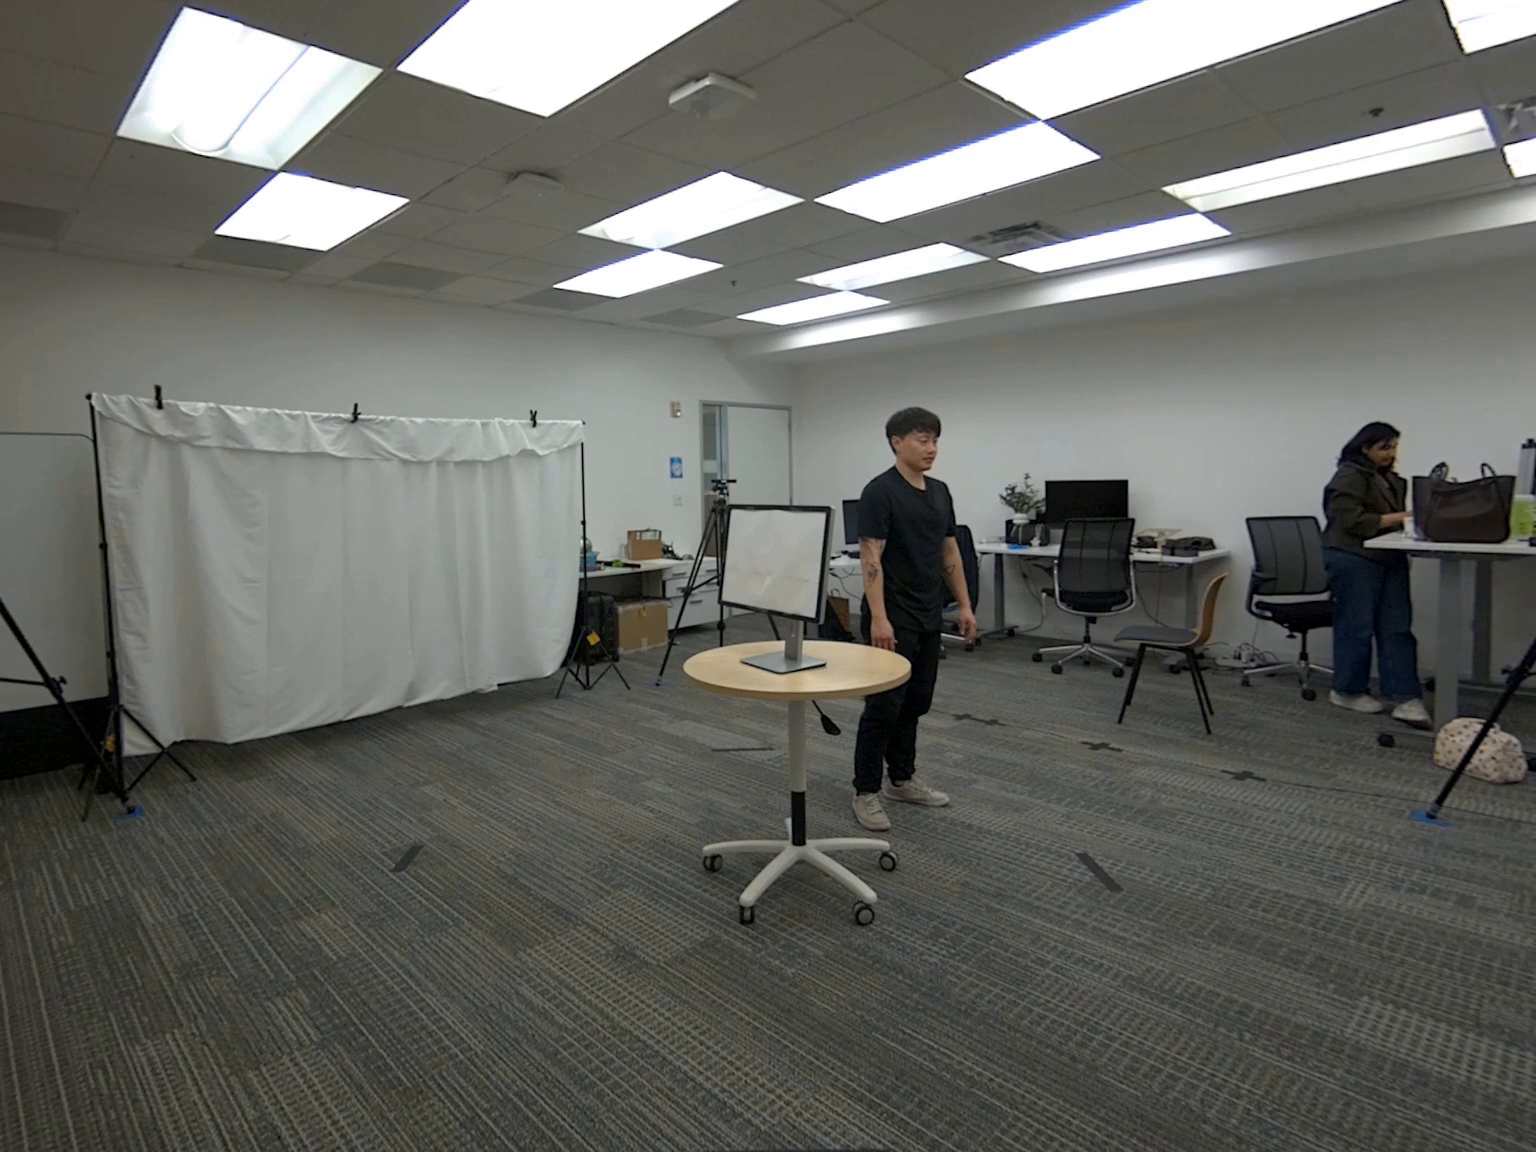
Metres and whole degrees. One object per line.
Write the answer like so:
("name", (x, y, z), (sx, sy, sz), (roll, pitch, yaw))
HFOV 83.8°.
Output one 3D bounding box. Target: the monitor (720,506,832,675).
("monitor", (0.049, 0.037, 2.877), (0.182, 0.520, 0.555), (-6, 7, -37))
